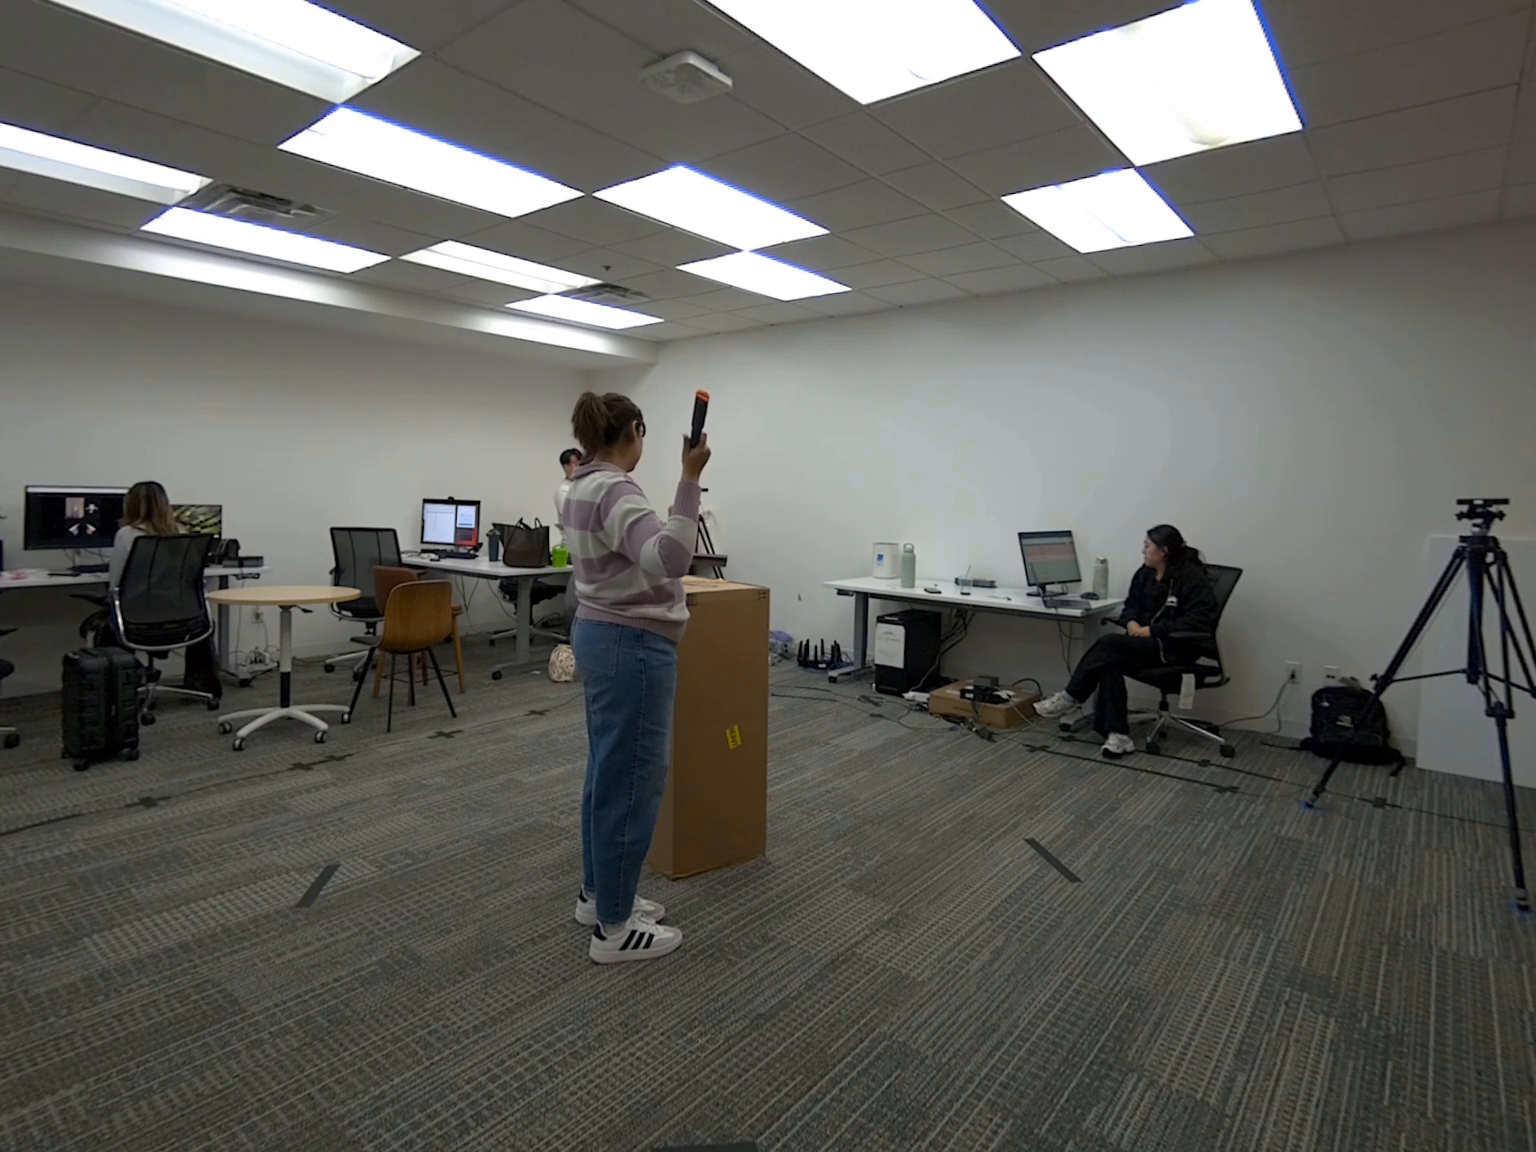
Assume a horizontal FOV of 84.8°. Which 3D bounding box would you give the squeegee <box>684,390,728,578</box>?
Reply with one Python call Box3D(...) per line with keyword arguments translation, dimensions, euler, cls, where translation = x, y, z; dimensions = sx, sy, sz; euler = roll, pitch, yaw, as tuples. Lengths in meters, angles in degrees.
Box3D(translation=(-0.277, -0.258, 2.703), dimensions=(0.434, 0.054, 1.525), euler=(-3, -14, -10), cls="squeegee")
